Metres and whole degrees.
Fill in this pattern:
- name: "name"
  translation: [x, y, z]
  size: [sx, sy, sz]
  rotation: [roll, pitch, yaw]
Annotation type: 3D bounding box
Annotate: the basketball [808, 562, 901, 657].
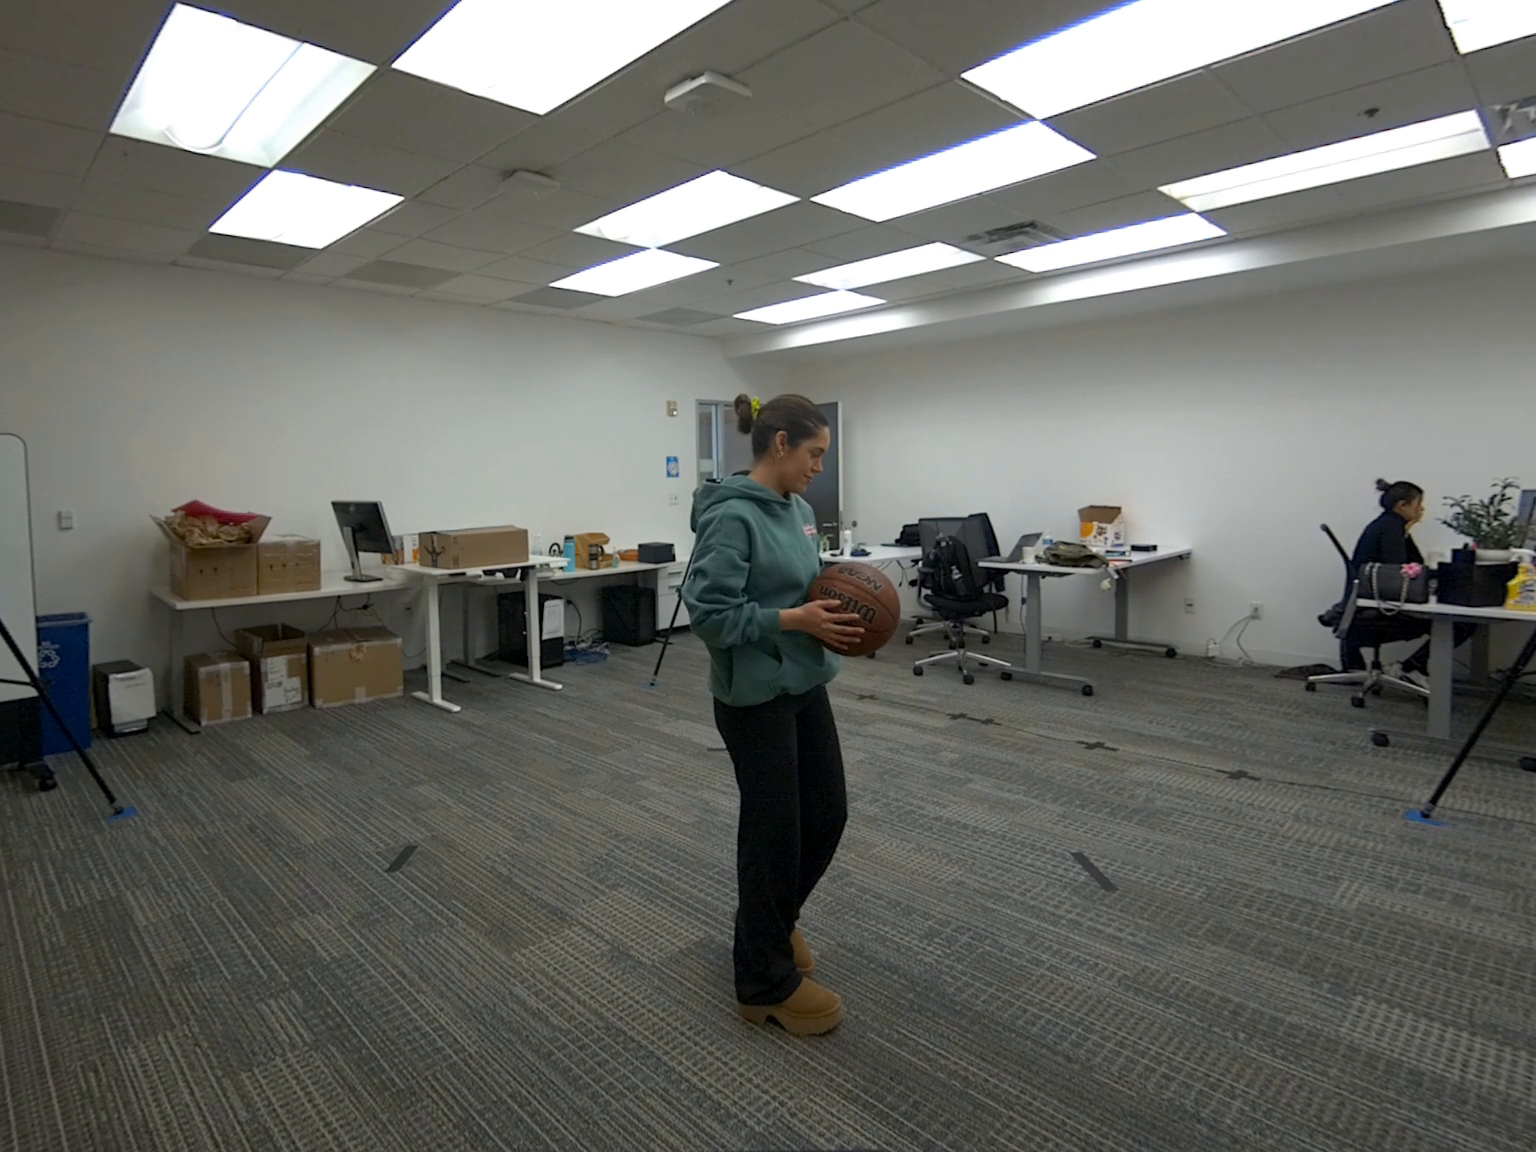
- name: "basketball"
  translation: [0.212, 0.084, 2.133]
  size: [0.236, 0.235, 0.237]
  rotation: [-1, 5, -2]
